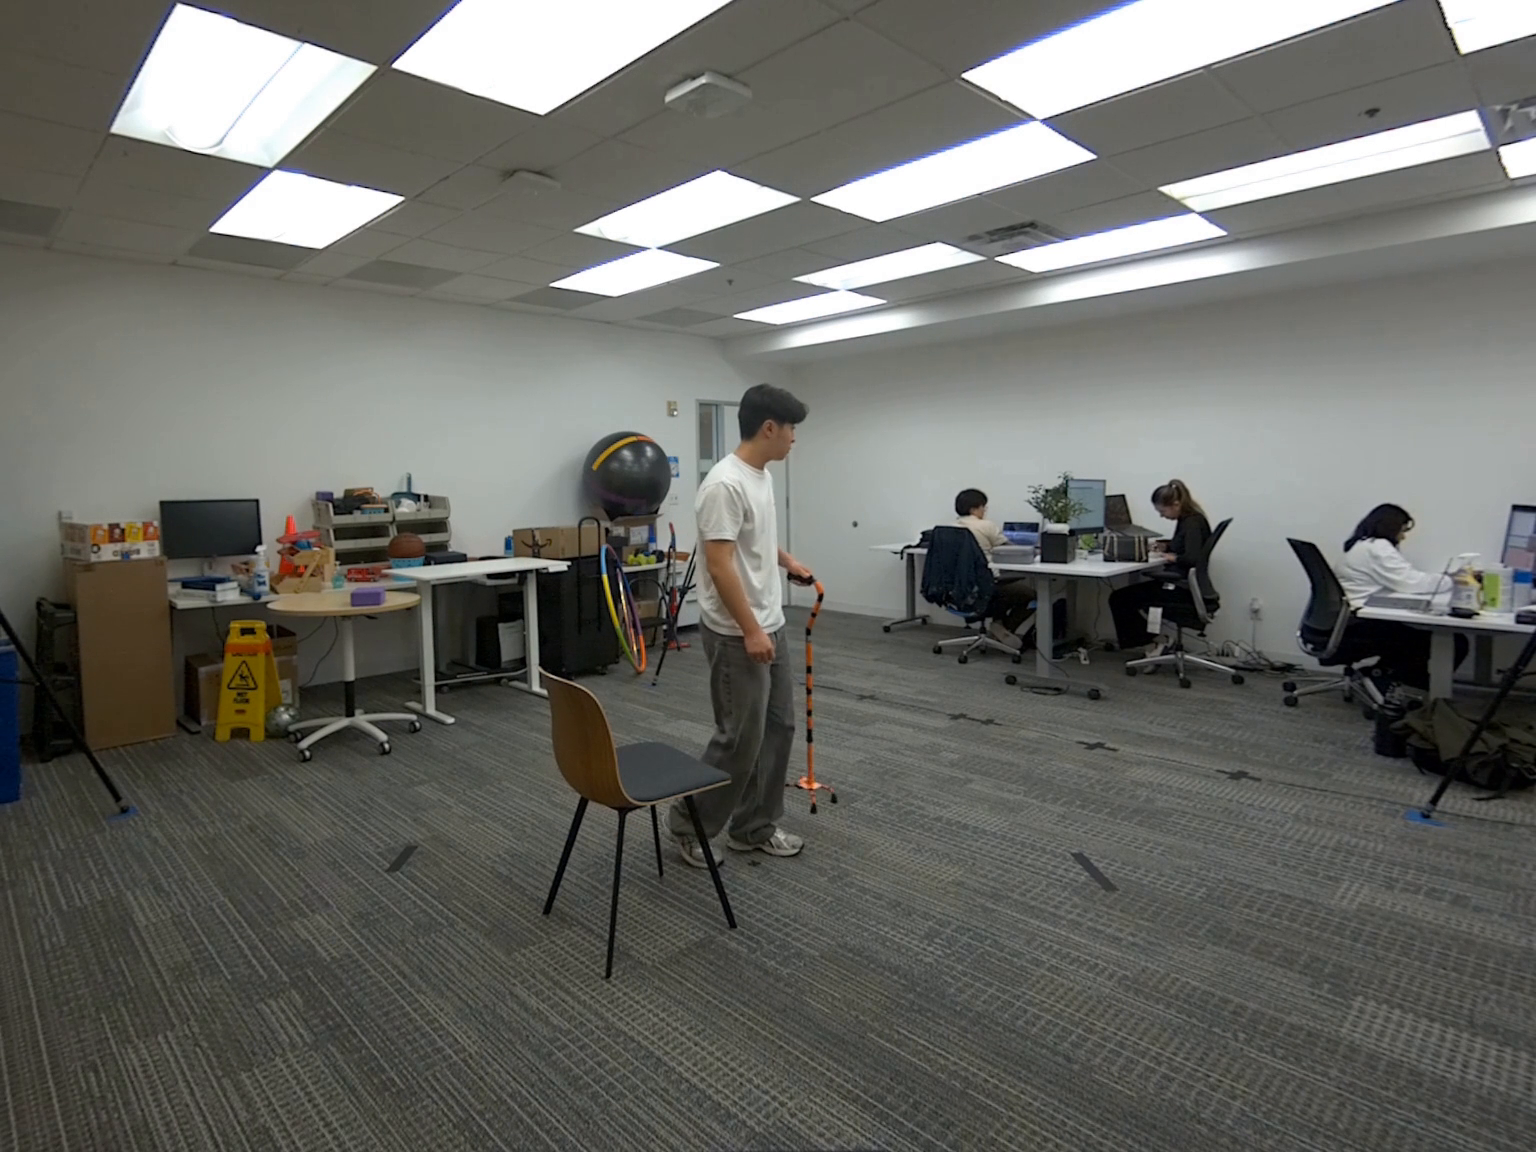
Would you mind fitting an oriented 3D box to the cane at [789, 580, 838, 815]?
[{"bbox_3d":[0.144,0.458,3.337,0.213,0.901,0.148,6,11,41],"label":"cane"}]
